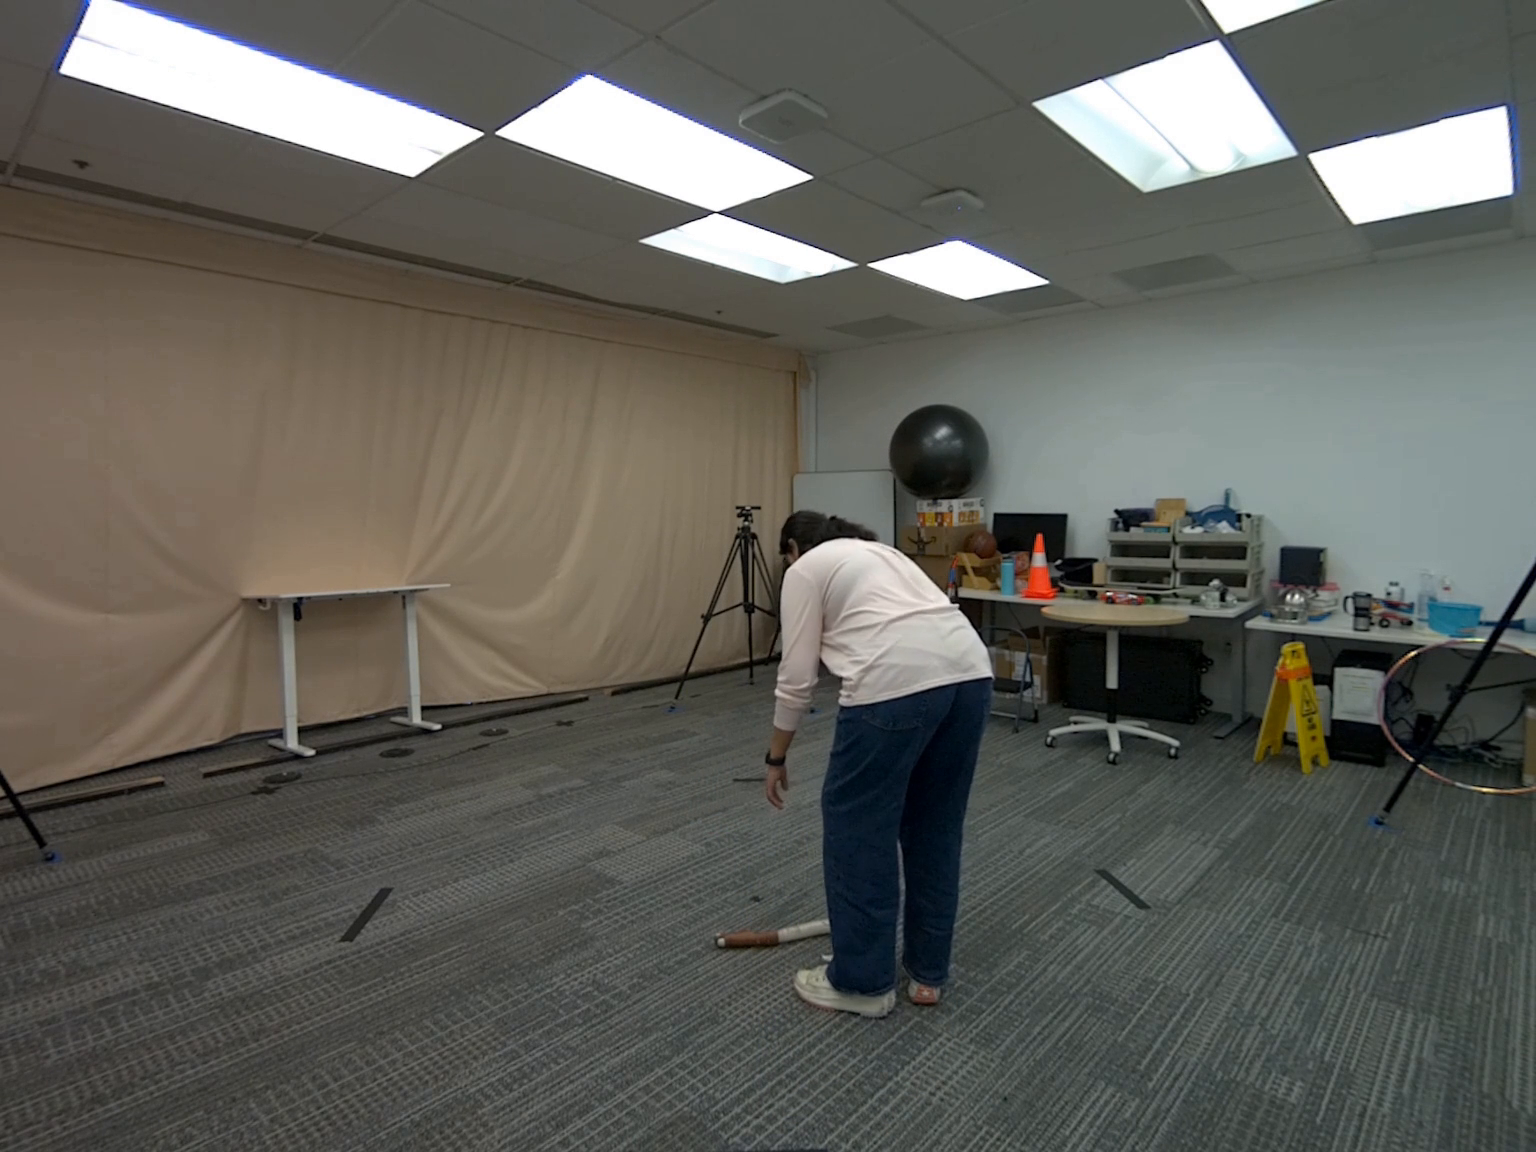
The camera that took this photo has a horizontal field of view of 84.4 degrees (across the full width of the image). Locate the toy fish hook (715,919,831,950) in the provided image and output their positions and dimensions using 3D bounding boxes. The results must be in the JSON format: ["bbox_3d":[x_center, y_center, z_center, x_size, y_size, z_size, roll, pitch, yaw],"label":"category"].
[{"bbox_3d":[0.093,1.152,2.637,0.501,0.048,0.227,-1,3,-10],"label":"toy fish hook"}]
